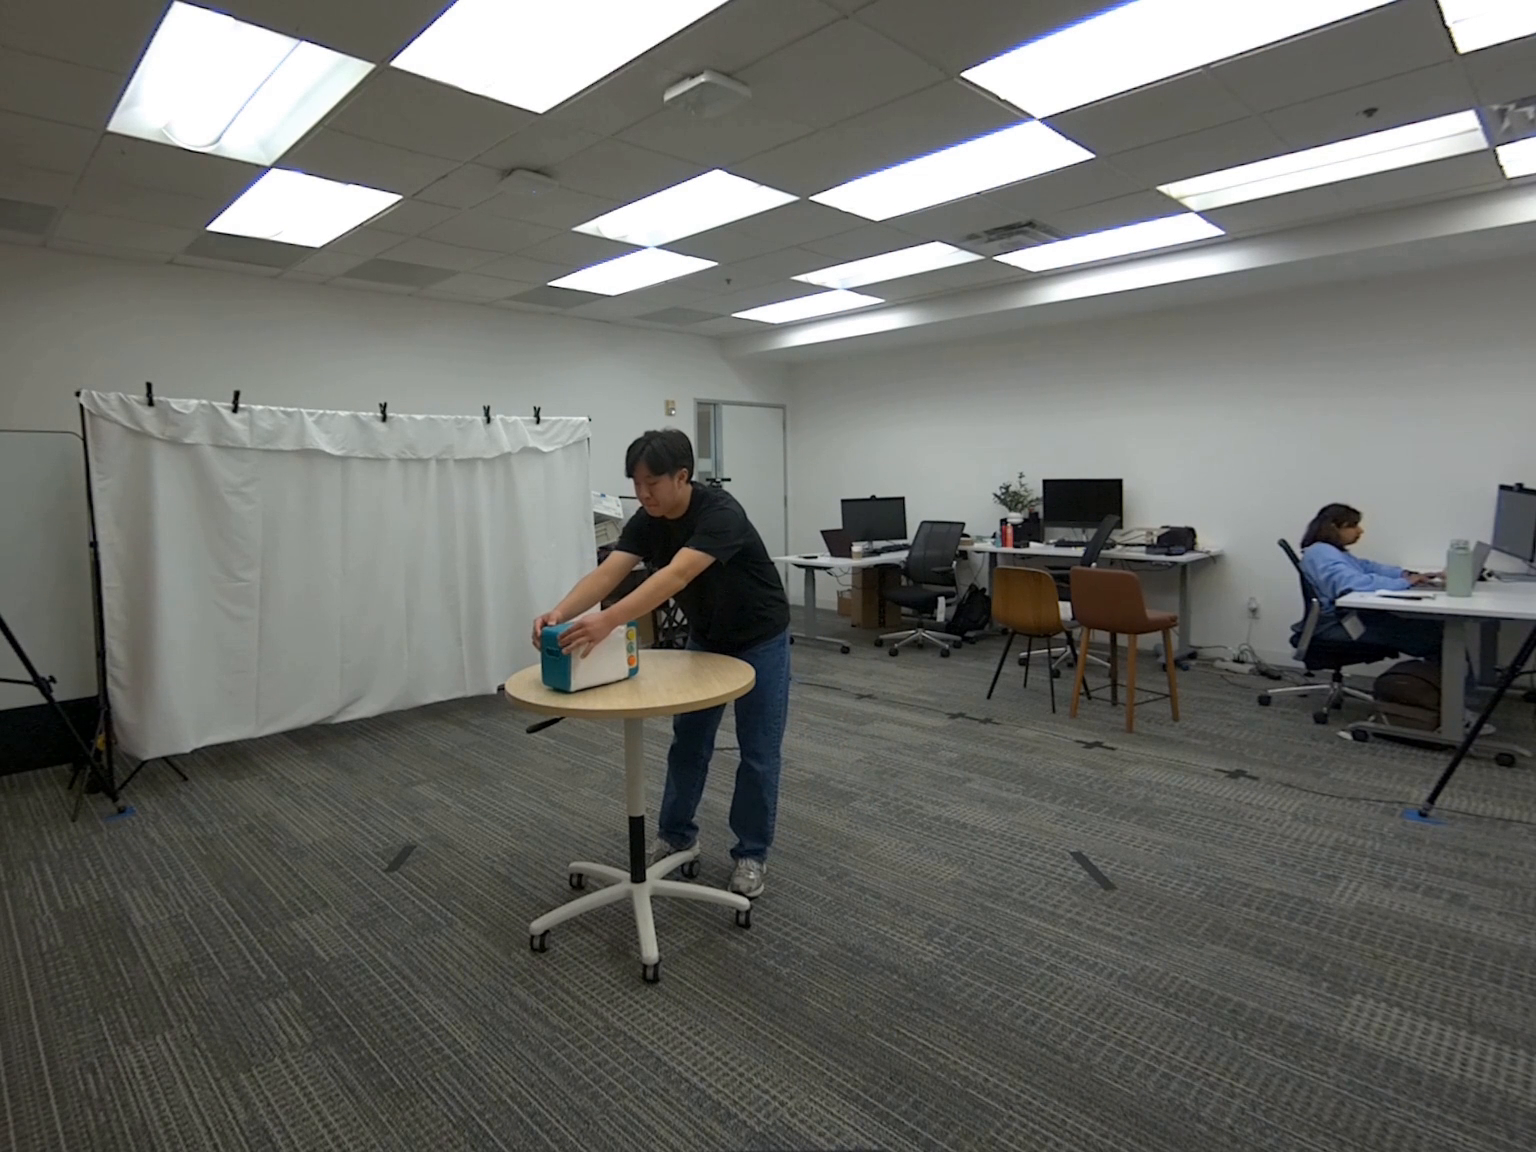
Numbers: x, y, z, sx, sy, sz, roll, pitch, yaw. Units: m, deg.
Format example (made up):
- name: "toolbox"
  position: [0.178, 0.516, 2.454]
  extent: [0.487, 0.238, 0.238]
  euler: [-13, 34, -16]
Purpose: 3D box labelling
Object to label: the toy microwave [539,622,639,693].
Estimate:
- name: "toy microwave"
  position: [-0.524, 0.232, 2.547]
  extent: [0.157, 0.183, 0.279]
  euler: [2, 6, 40]
